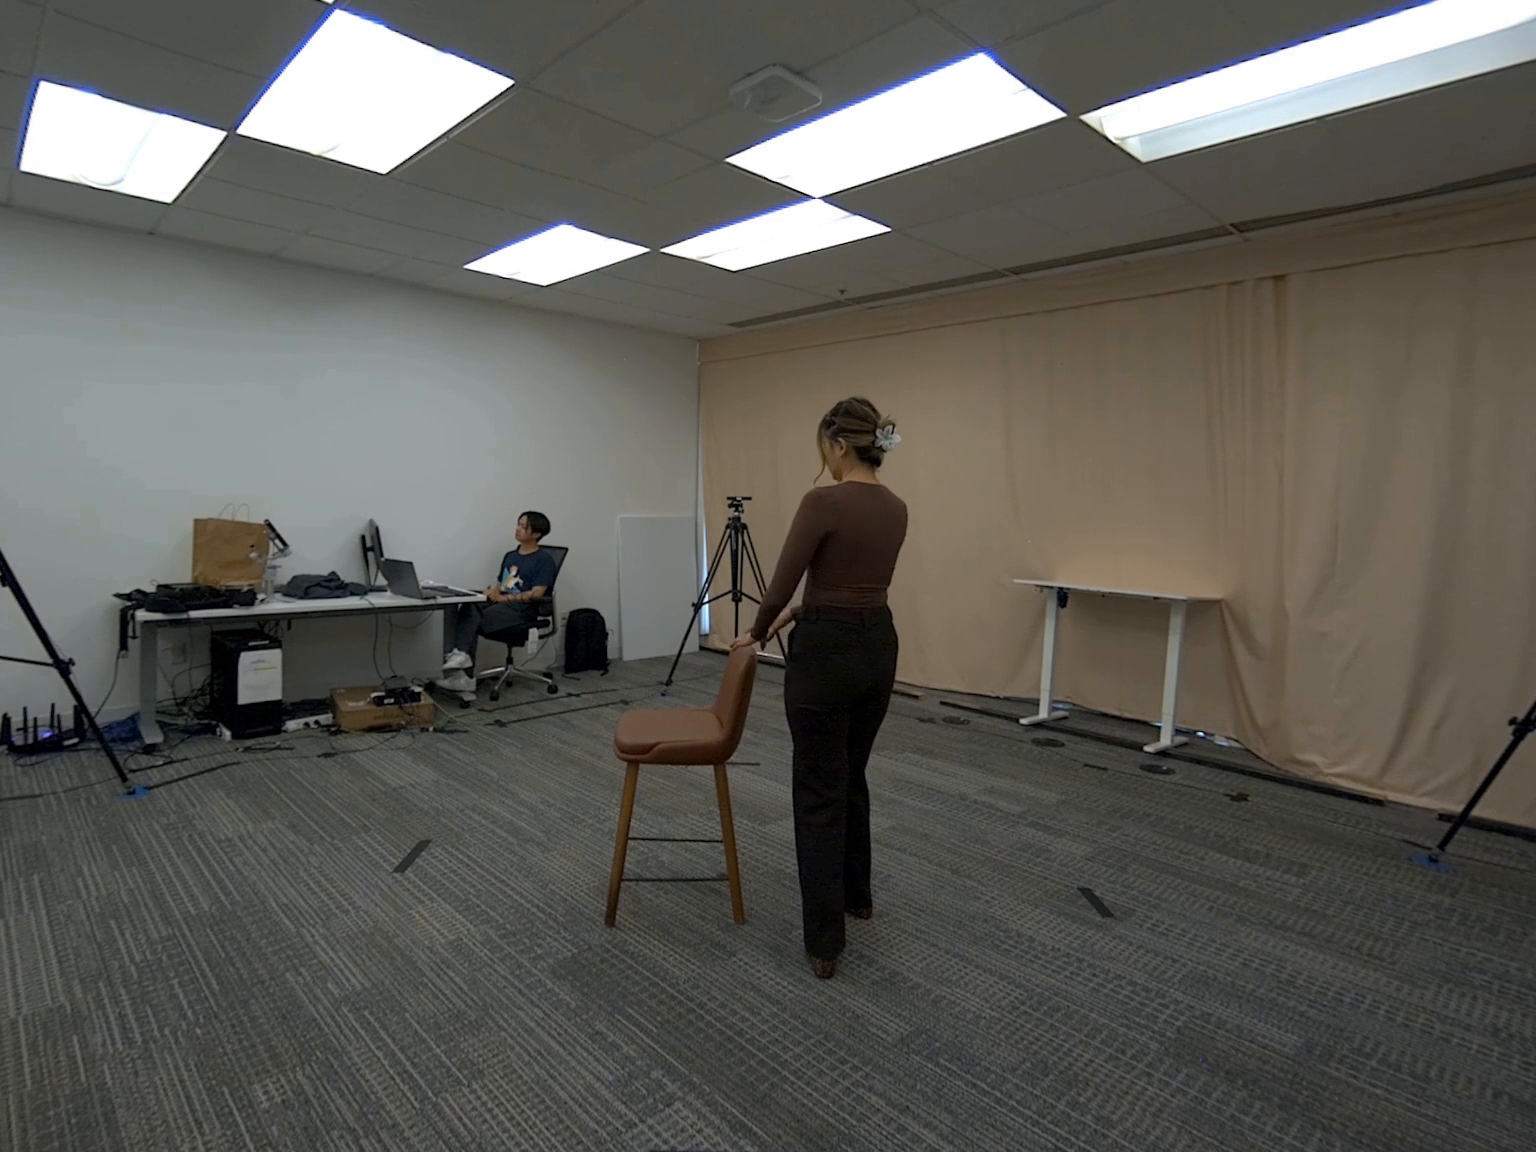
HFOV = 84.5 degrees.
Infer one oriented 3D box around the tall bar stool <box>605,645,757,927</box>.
[{"bbox_3d":[-0.304,0.687,2.900,0.465,0.887,0.460,3,4,-6],"label":"tall bar stool"}]
